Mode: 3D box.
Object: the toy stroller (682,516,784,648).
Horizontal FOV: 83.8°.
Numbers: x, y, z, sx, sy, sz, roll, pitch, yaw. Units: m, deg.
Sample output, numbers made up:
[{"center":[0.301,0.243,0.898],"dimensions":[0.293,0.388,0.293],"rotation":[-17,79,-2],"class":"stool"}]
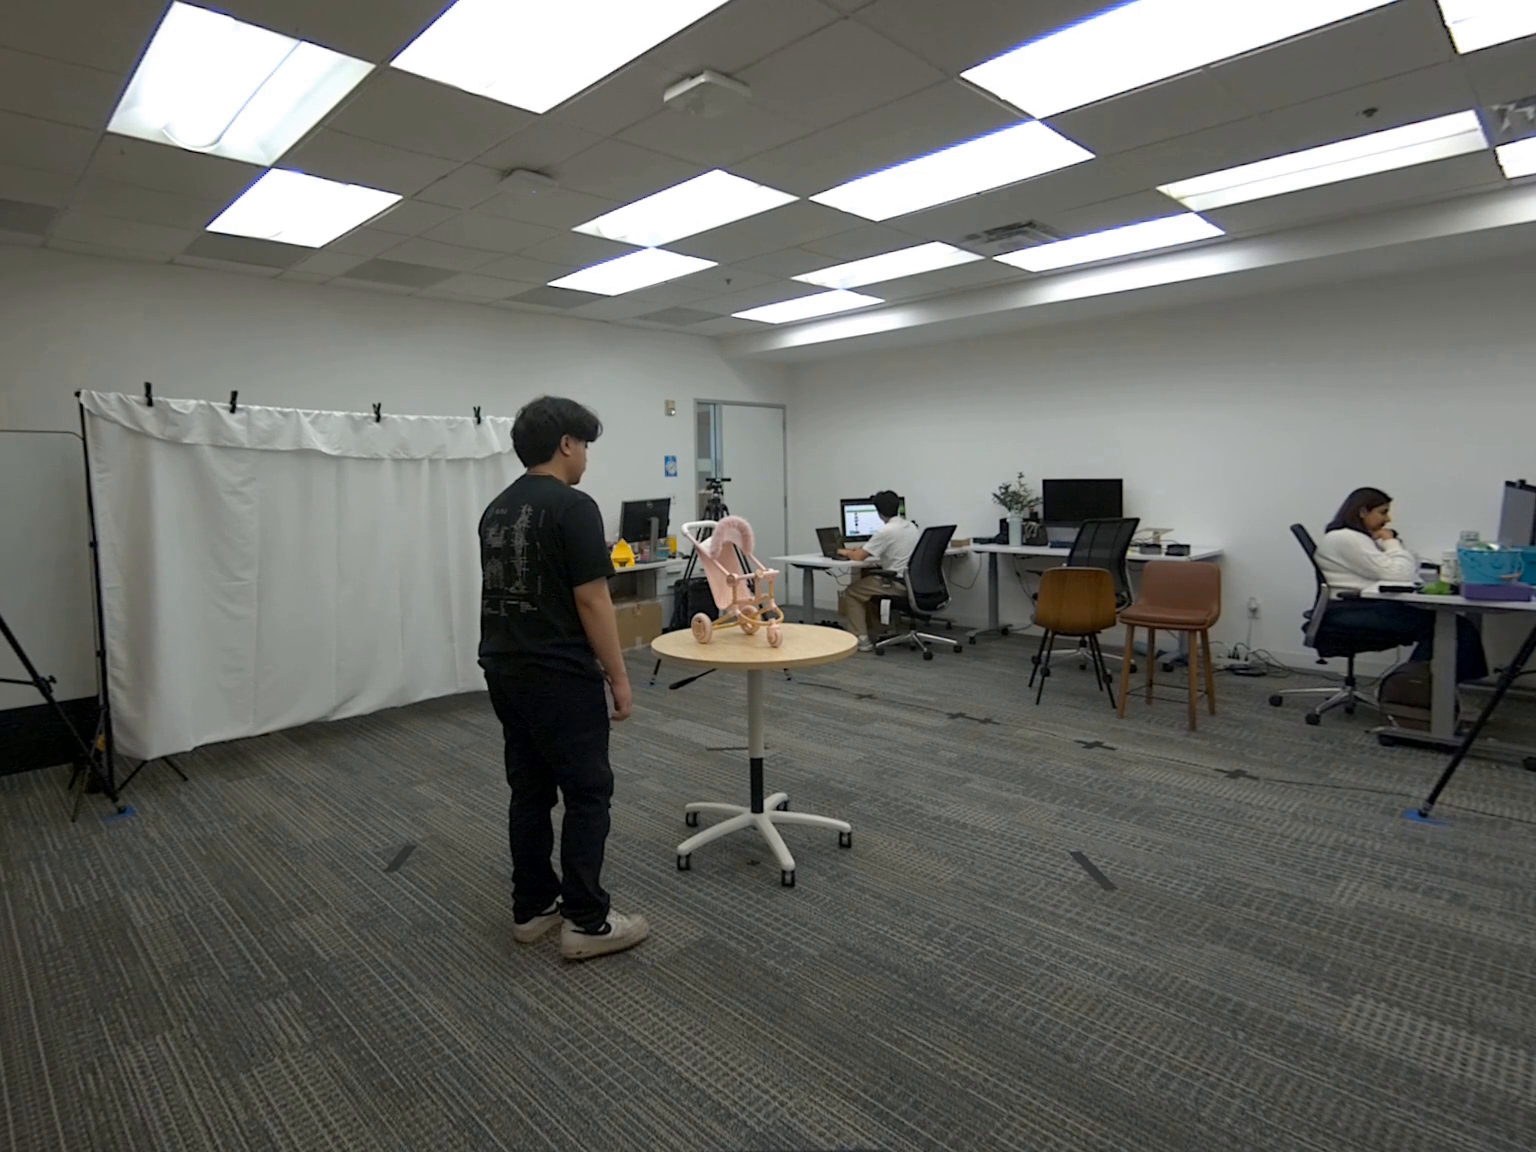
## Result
[{"center":[-0.117,0.017,3.178],"dimensions":[0.274,0.540,0.347],"rotation":[-5,-10,-39],"class":"toy stroller"}]
